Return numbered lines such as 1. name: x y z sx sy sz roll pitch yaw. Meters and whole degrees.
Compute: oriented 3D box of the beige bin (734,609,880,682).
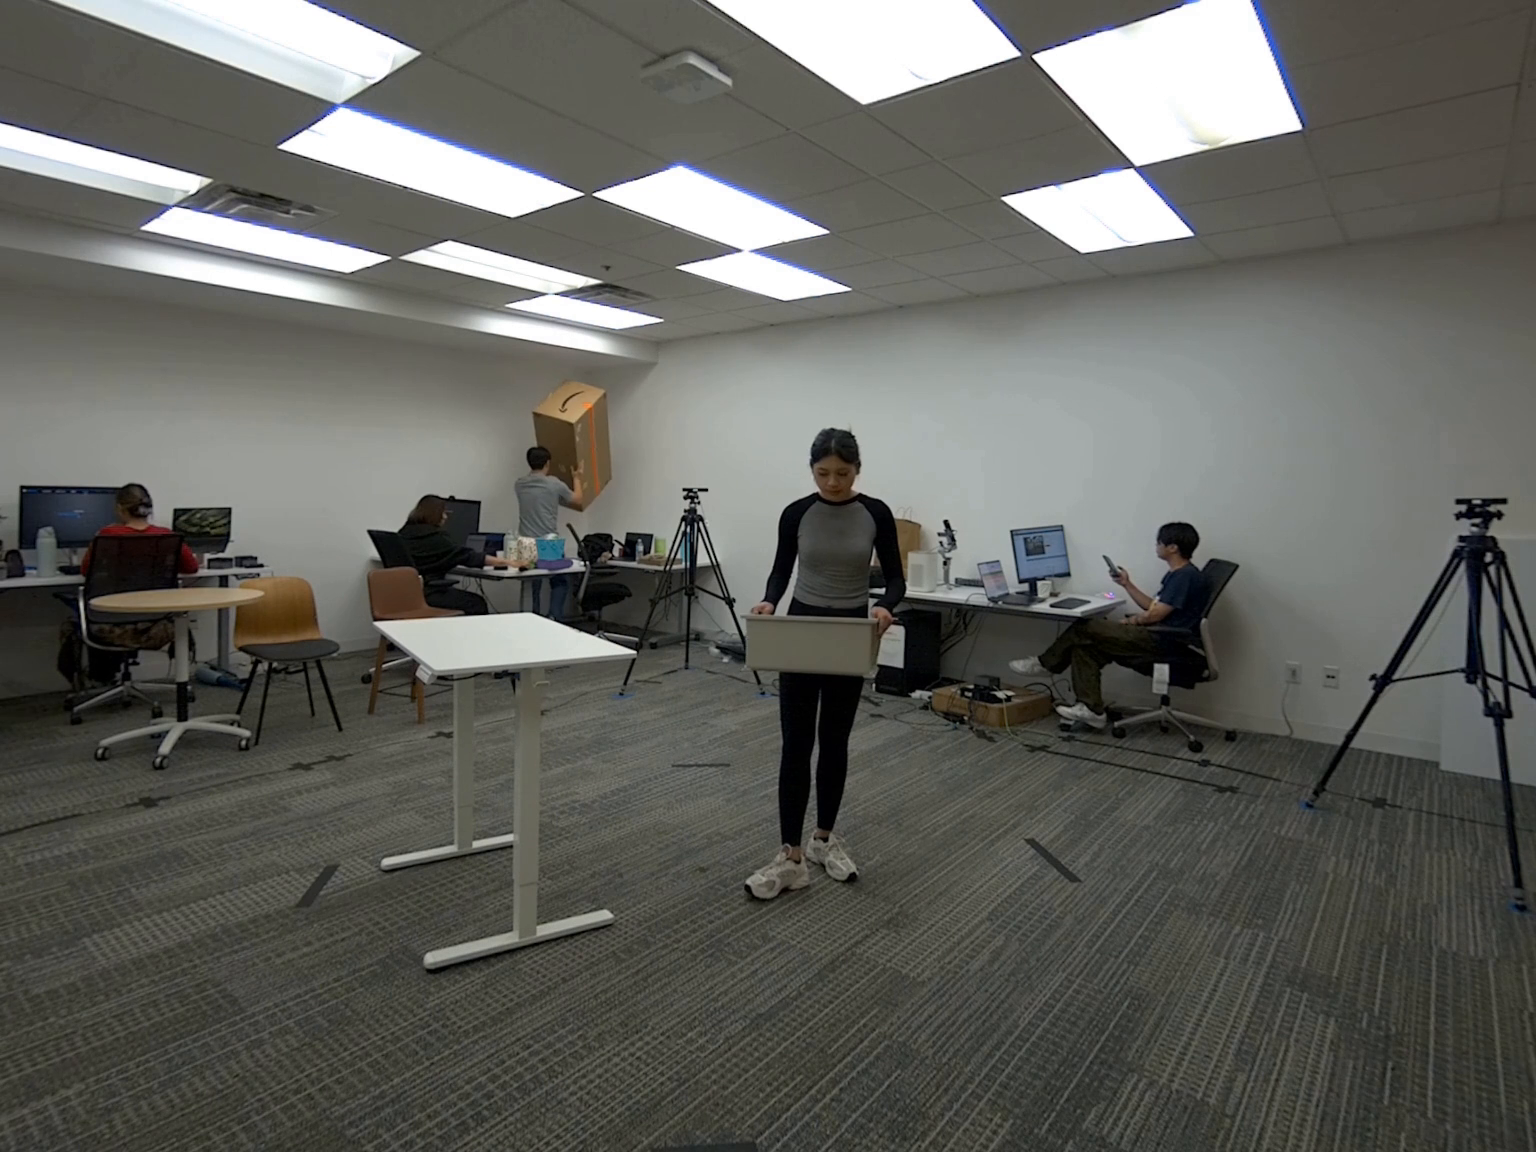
1. beige bin: 0.139 0.217 2.789 0.429 0.189 0.371 1 0 13
